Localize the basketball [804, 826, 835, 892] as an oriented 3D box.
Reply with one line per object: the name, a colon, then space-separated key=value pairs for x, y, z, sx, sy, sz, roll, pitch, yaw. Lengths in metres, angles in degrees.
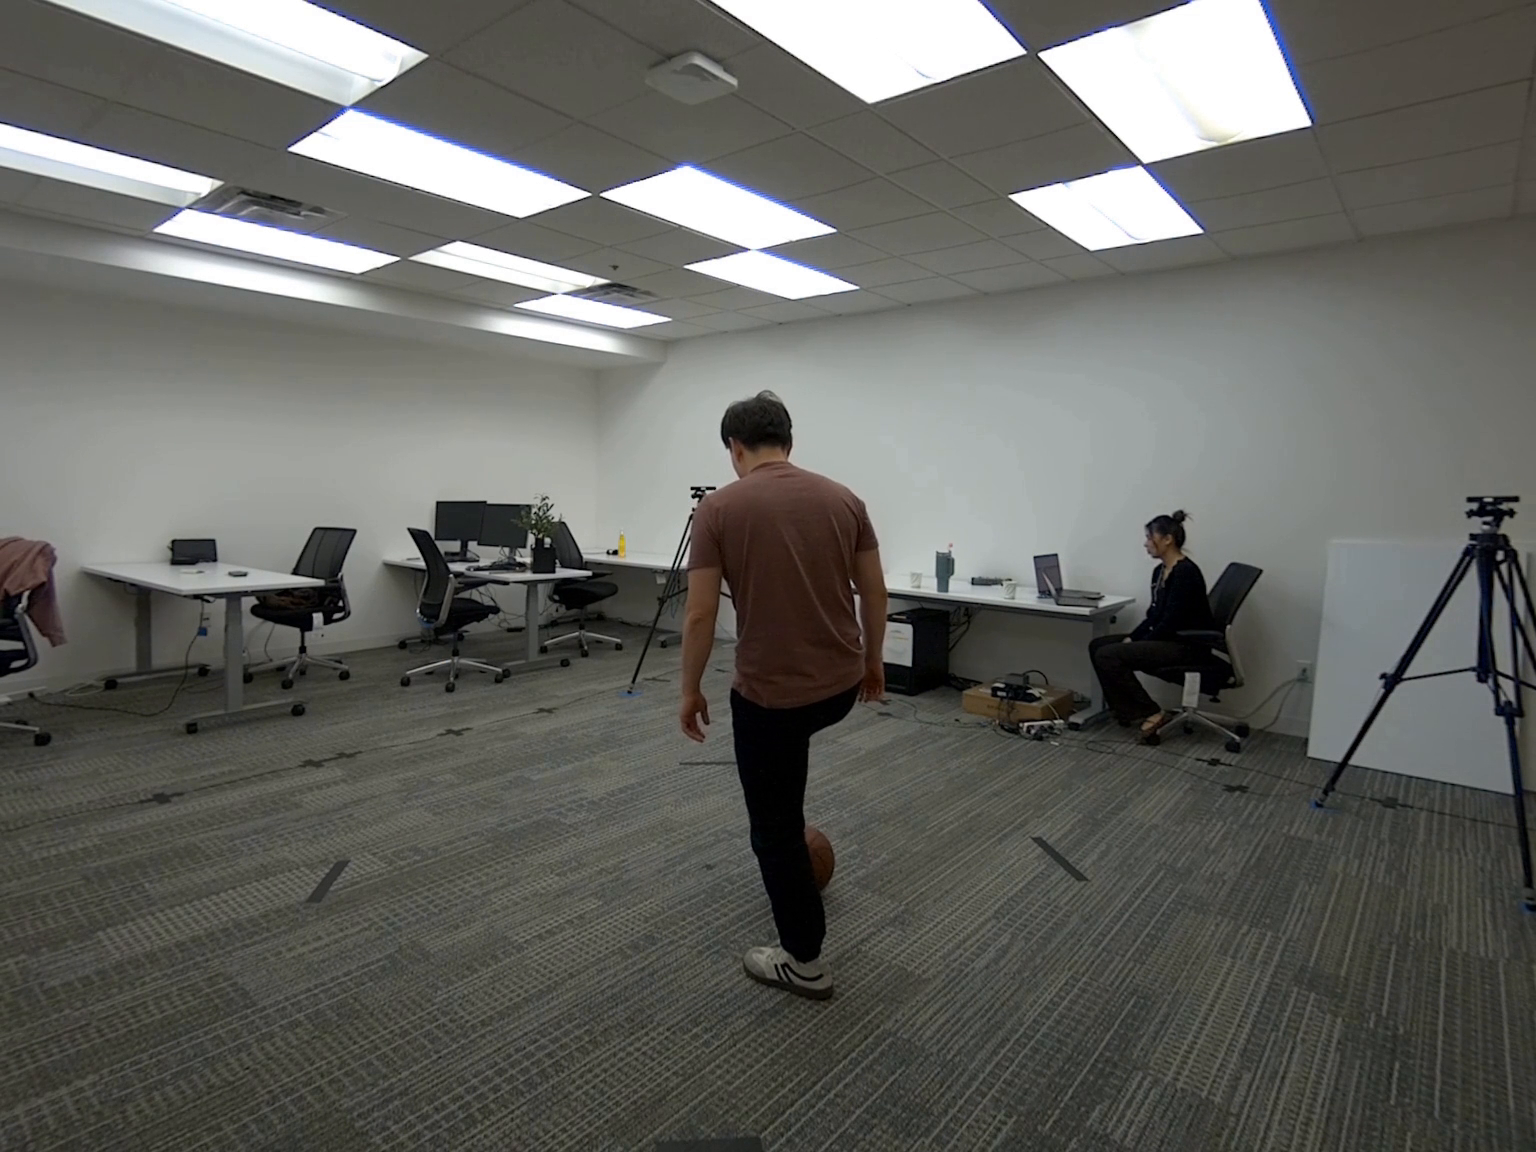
basketball: x=0.108 y=0.967 z=2.919 sx=0.235 sy=0.235 sz=0.237 roll=1 pitch=4 yaw=-2
